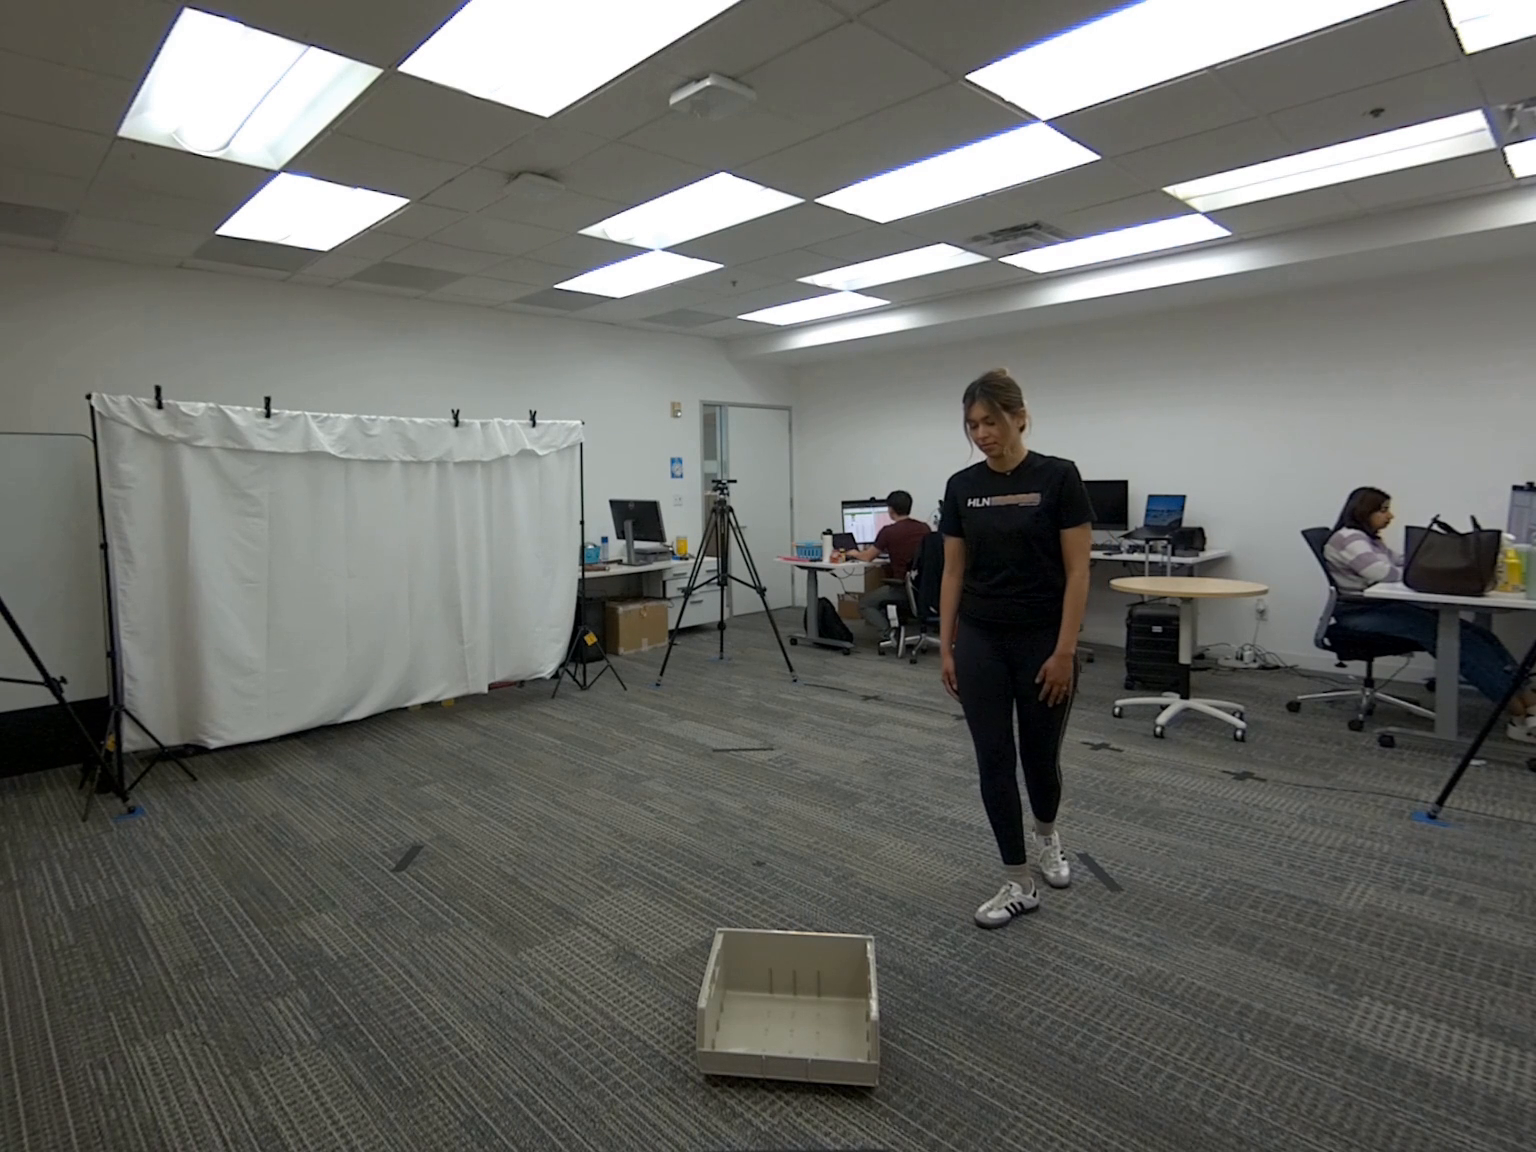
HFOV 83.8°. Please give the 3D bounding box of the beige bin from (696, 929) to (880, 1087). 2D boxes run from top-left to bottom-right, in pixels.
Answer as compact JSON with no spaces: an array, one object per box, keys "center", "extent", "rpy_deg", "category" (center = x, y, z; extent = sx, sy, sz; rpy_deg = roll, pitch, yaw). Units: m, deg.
[{"center":[0.065,1.073,2.115],"extent":[0.425,0.188,0.376],"rpy_deg":[-1,5,6],"category":"beige bin"}]
